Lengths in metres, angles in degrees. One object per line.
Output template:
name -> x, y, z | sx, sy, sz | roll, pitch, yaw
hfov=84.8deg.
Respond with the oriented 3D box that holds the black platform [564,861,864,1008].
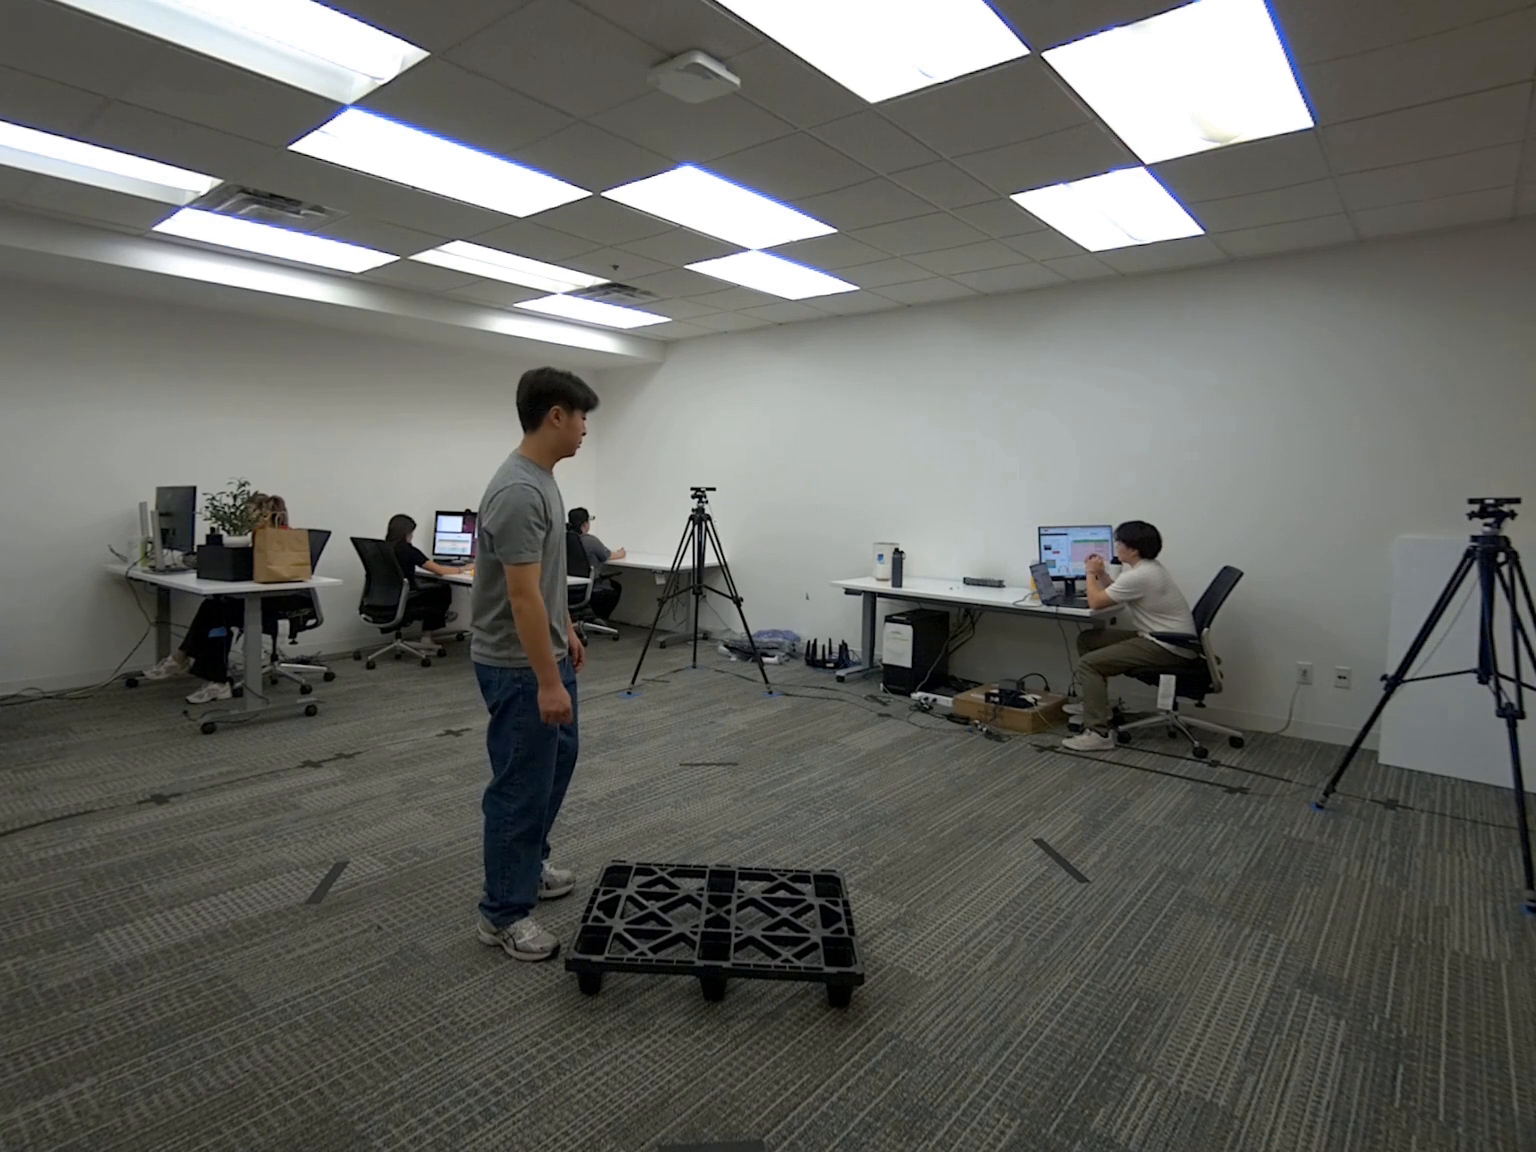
black platform -> -0.158, 1.056, 2.536 | 0.808, 0.143, 0.606 | 2, 5, 2
